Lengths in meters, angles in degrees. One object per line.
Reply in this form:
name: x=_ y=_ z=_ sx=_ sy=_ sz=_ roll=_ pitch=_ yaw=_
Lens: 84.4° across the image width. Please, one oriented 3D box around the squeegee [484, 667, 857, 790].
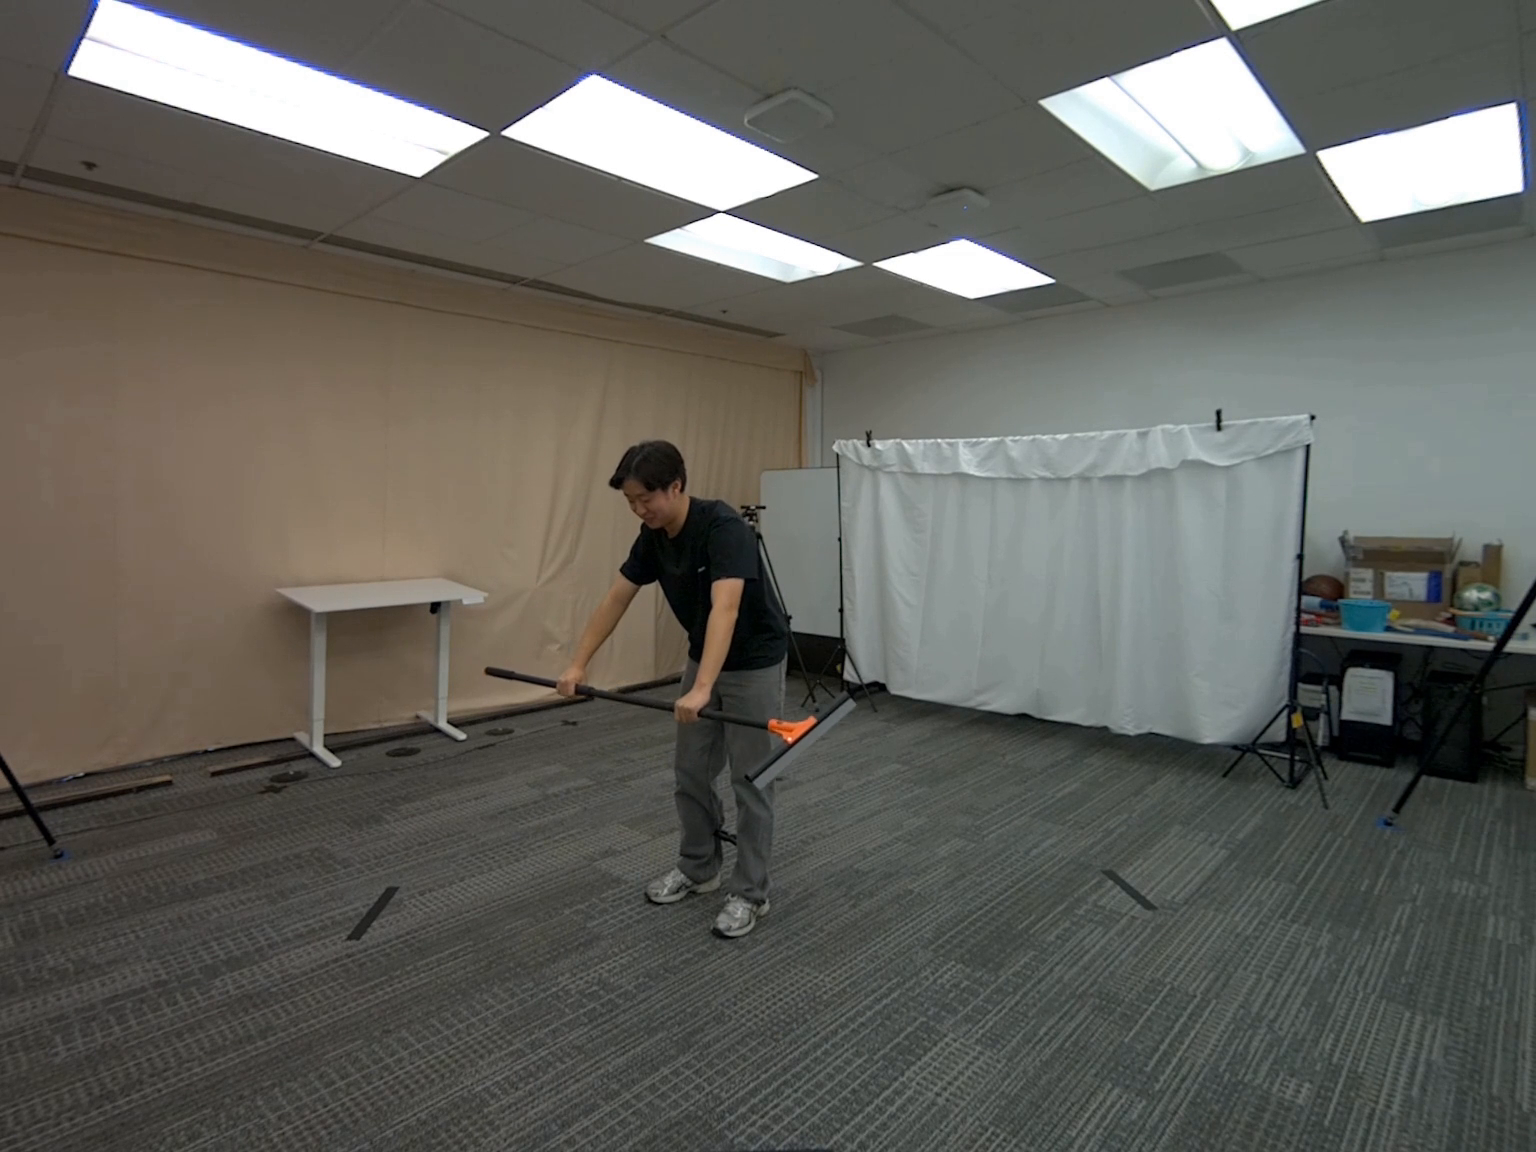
squeegee: x=-0.479 y=0.389 z=2.678 sx=1.588 sy=0.052 sz=0.430 roll=1 pitch=24 yaw=42
